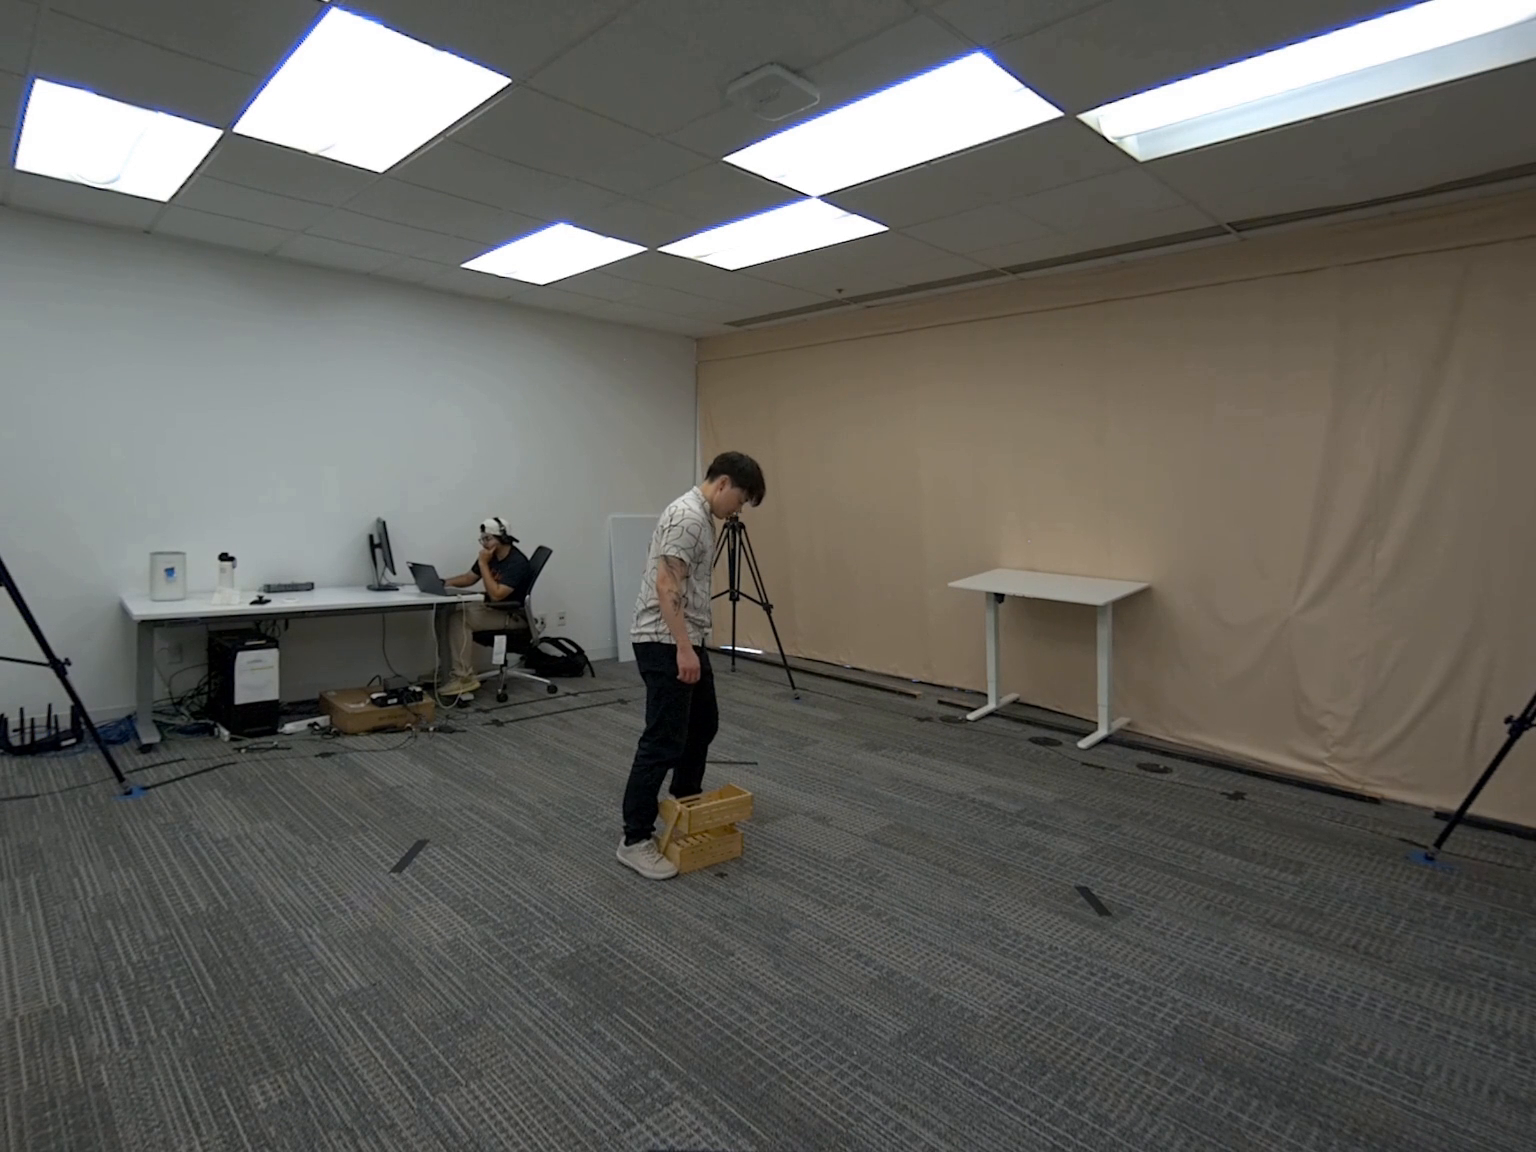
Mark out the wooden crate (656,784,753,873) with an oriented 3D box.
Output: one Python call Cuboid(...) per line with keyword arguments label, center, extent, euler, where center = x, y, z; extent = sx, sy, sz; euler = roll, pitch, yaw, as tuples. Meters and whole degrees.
Cuboid(label="wooden crate", center=(-0.279, 0.951, 3.262), extent=(0.317, 0.272, 0.310), euler=(-2, 6, -39))
